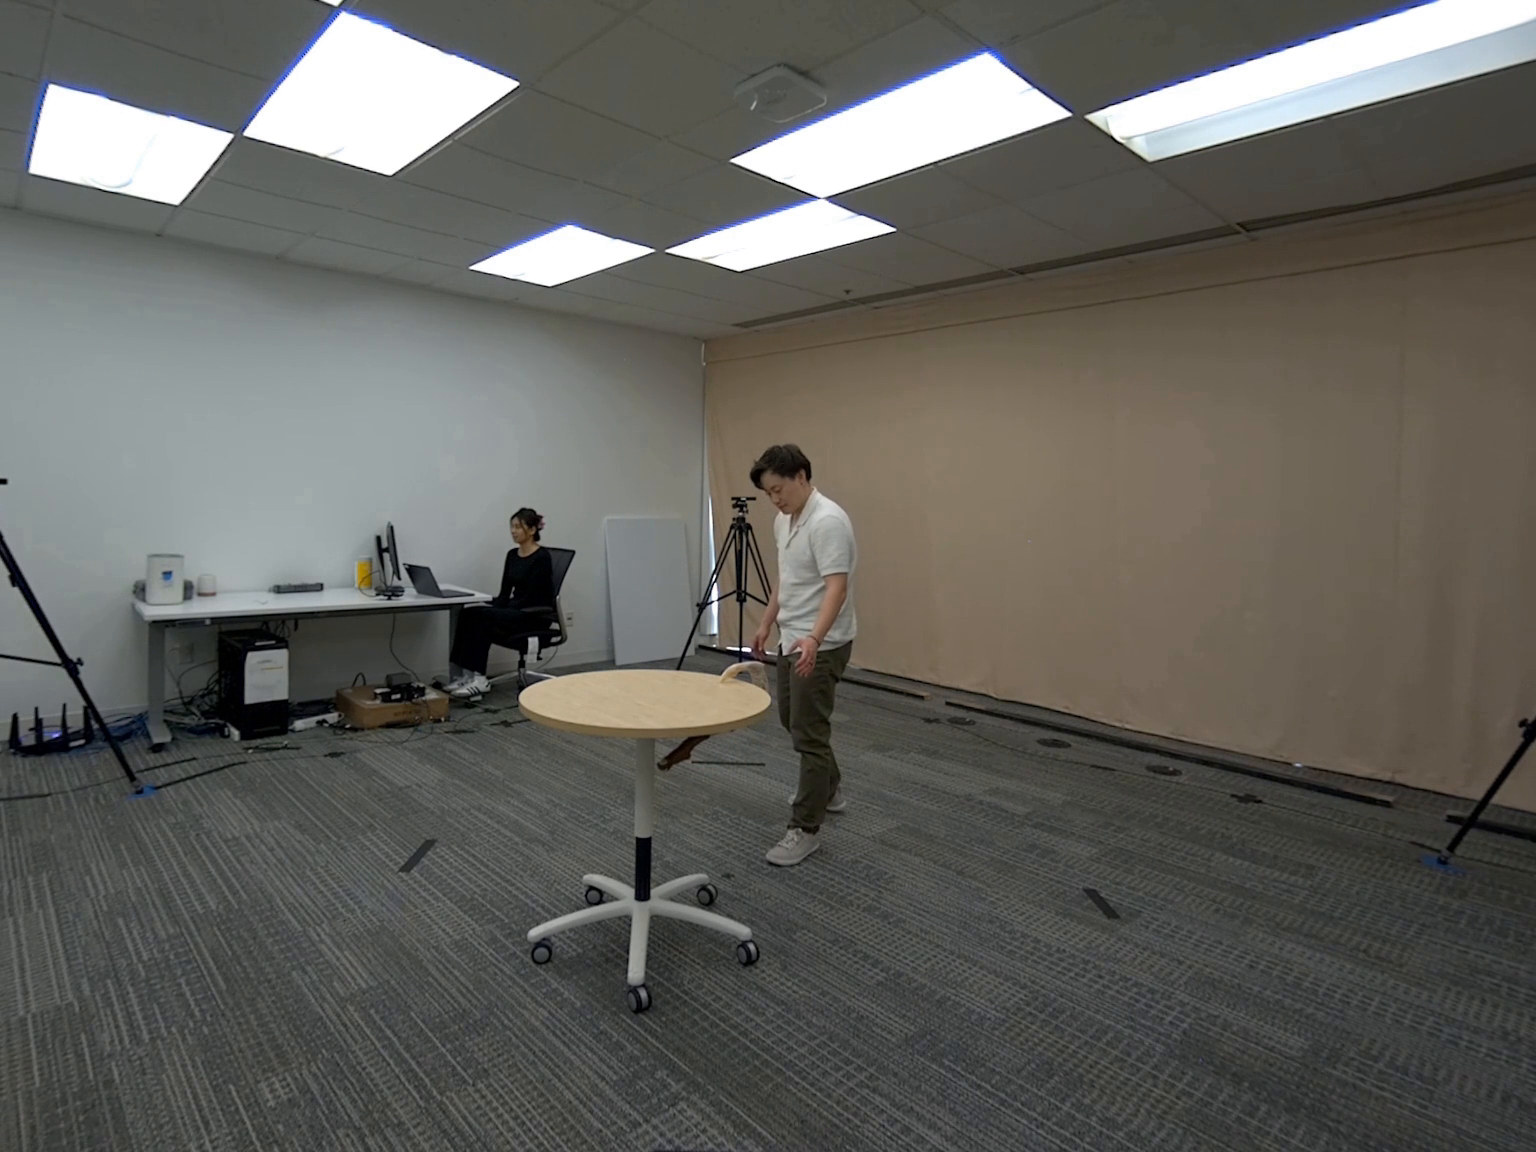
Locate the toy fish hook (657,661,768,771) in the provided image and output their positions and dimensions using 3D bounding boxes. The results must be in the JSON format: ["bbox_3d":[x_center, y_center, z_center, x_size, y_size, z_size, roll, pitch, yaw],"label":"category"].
[{"bbox_3d":[-0.184,0.456,2.781,0.049,0.220,0.502,10,32,45],"label":"toy fish hook"}]
